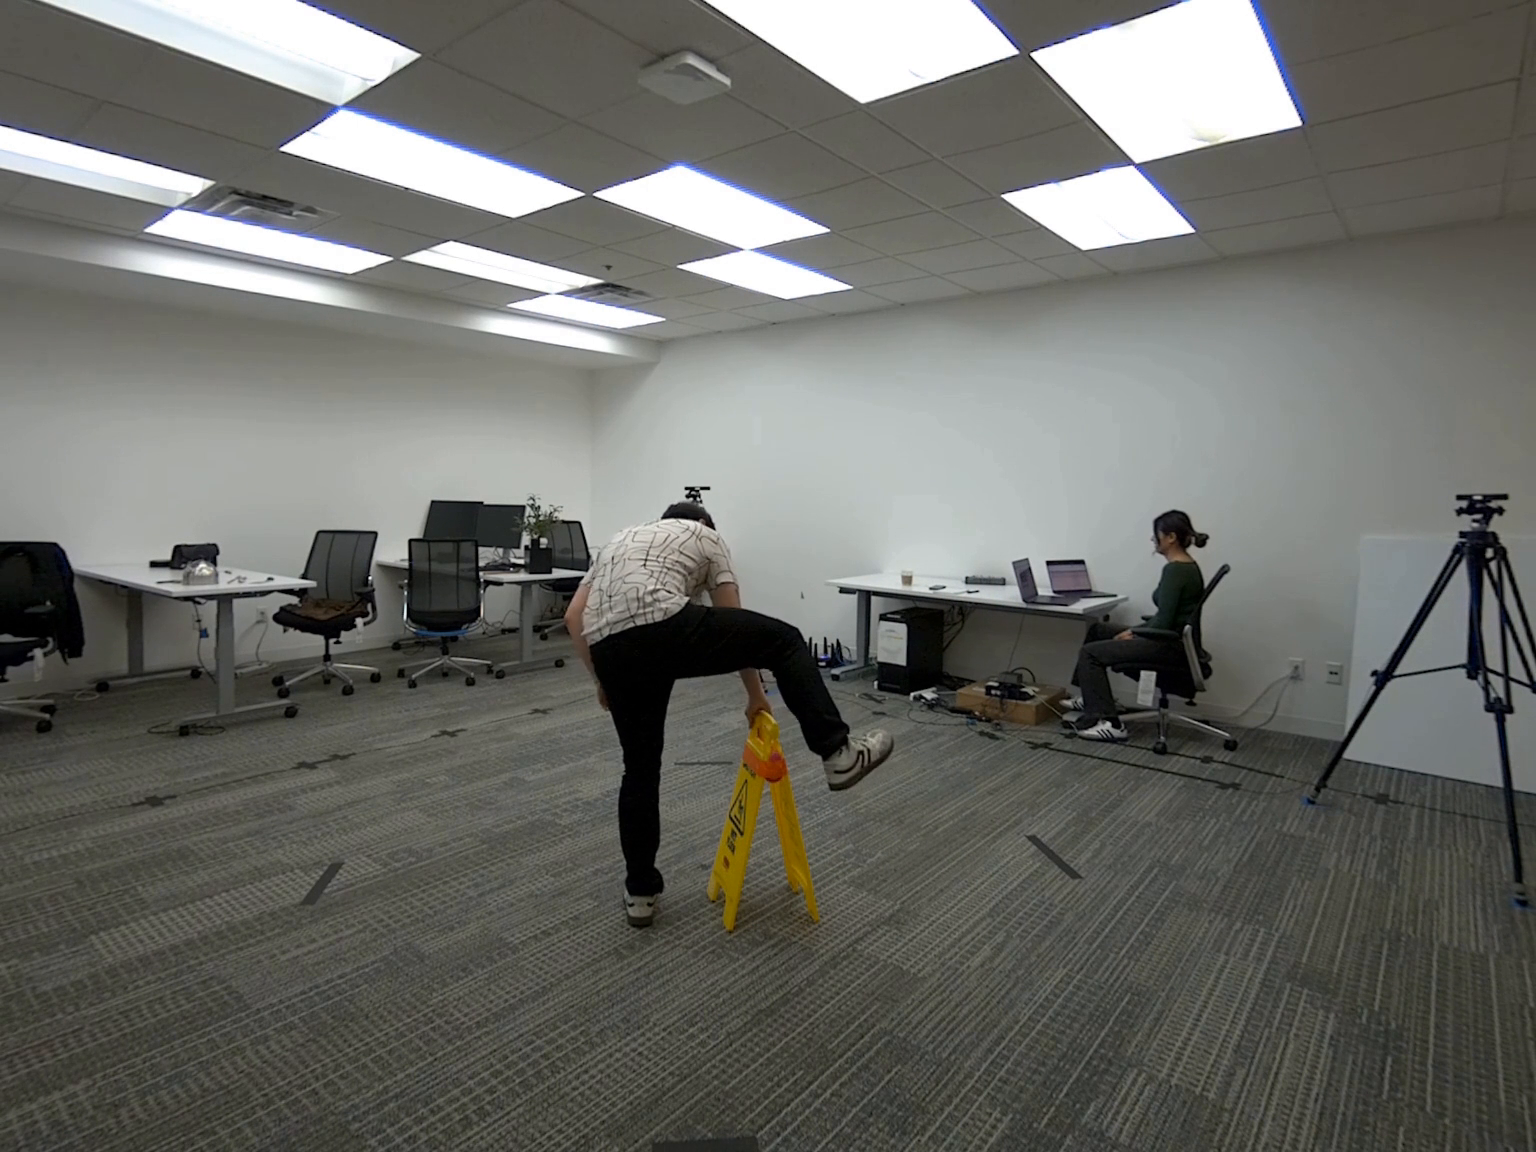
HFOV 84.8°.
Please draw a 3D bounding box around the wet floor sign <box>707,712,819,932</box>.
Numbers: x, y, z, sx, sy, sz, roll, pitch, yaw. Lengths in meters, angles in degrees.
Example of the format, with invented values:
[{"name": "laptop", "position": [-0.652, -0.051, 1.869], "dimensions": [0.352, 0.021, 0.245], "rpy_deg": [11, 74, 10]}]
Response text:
[{"name": "wet floor sign", "position": [-0.021, 0.775, 2.809], "dimensions": [0.285, 0.644, 0.288], "rpy_deg": [1, 4, -16]}]
